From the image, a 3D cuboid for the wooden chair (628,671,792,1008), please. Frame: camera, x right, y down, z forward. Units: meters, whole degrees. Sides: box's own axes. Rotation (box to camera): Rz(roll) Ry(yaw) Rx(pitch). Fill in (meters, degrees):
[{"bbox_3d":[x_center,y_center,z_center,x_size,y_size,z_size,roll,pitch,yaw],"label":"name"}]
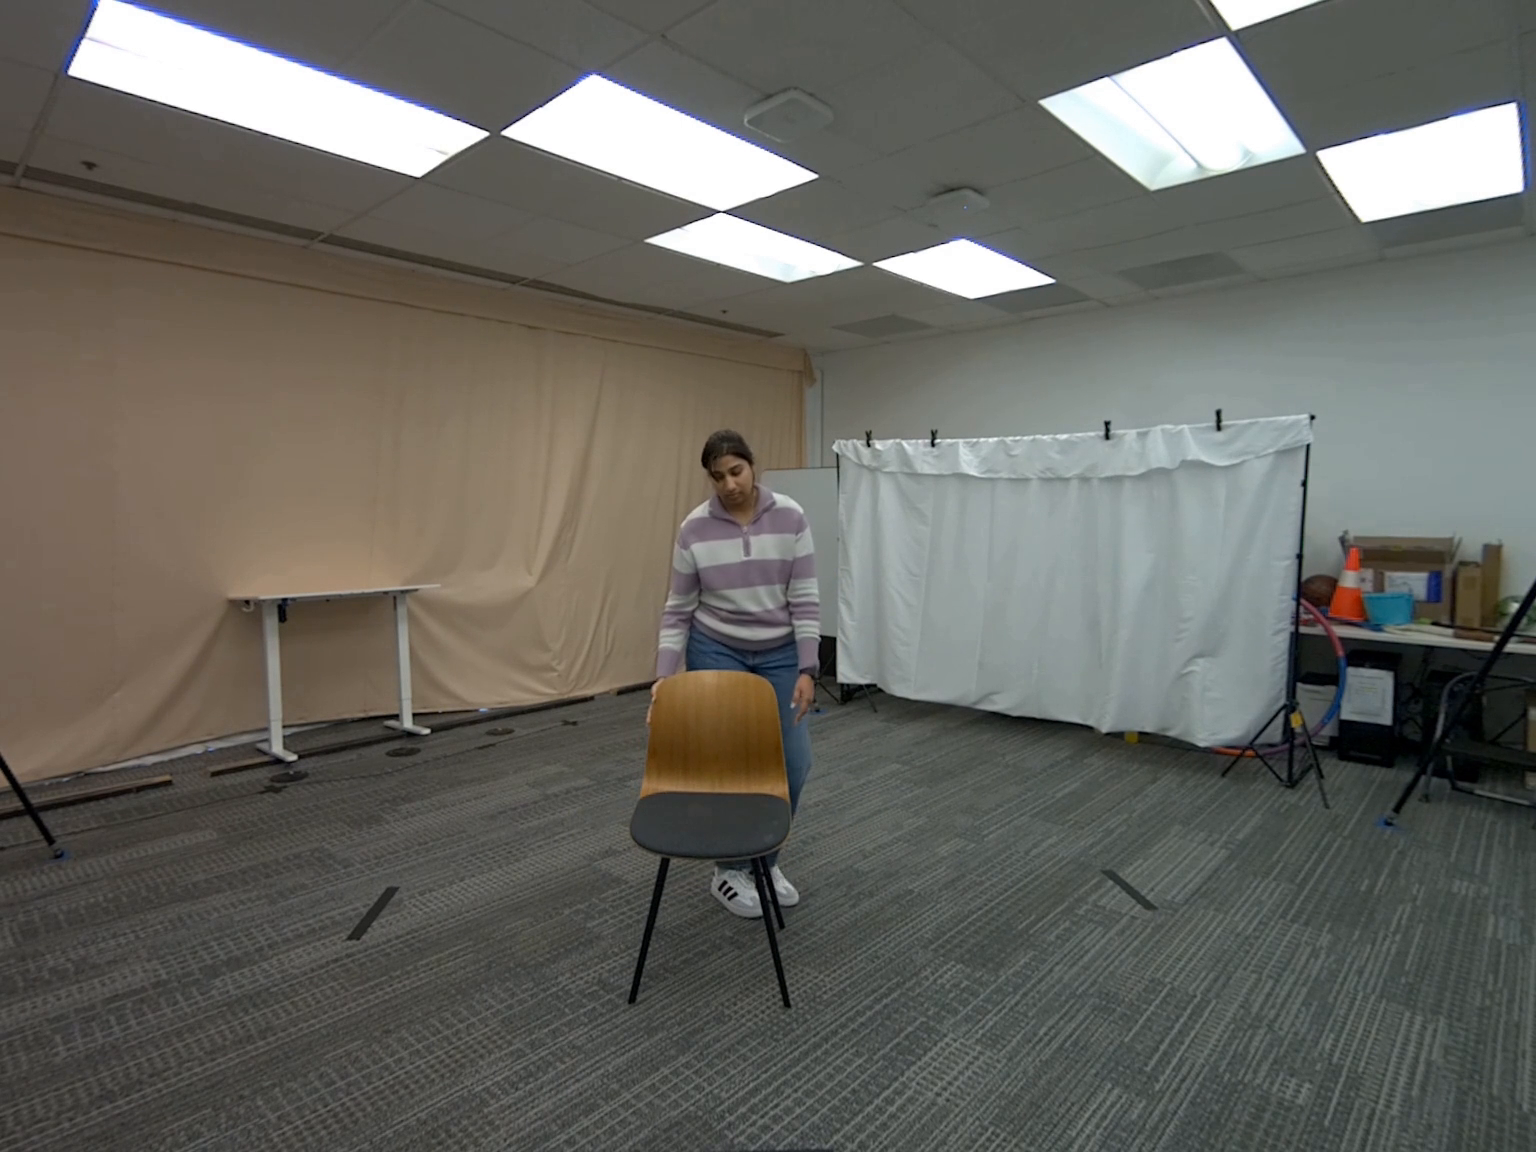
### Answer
[{"bbox_3d":[-0.157,0.748,2.532,0.479,0.878,0.522,1,-1,1],"label":"wooden chair"}]
